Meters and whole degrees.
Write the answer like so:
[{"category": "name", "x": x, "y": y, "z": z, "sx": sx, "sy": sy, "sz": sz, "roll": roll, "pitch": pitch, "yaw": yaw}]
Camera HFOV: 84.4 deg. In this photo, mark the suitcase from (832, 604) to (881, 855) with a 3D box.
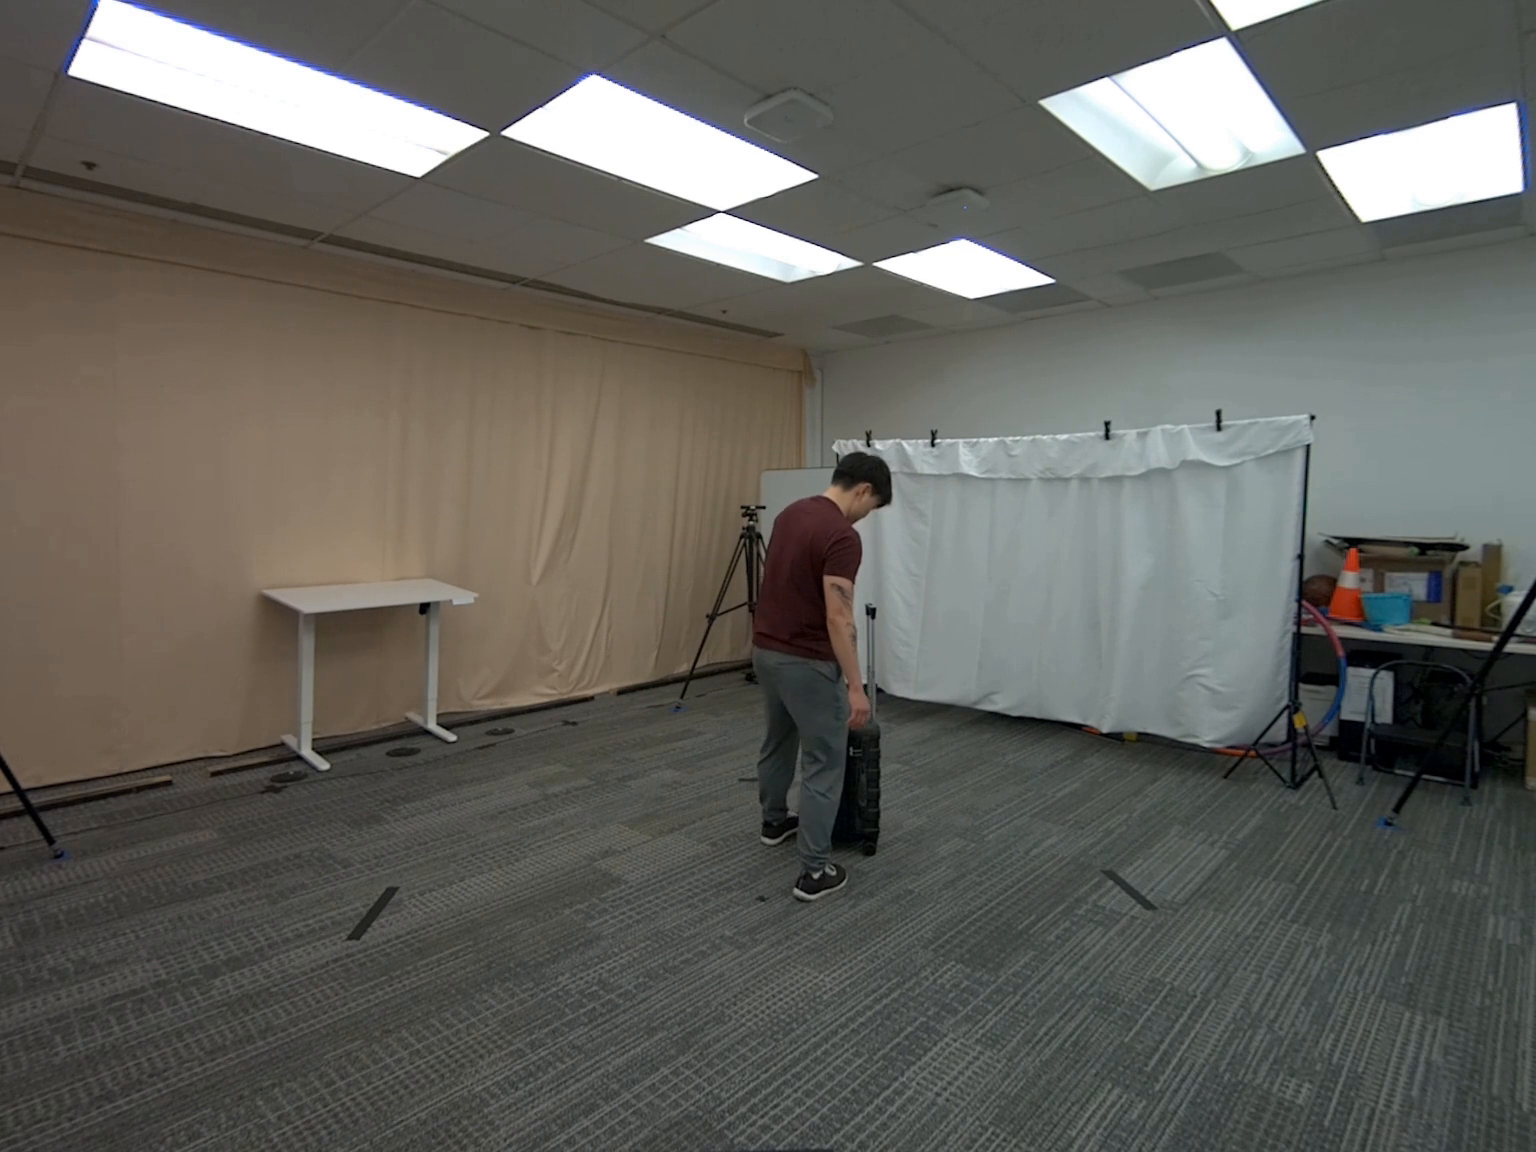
[{"category": "suitcase", "x": 0.329, "y": 0.623, "z": 3.492, "sx": 0.258, "sy": 0.977, "sz": 0.383, "roll": -1, "pitch": 2, "yaw": 1}]
